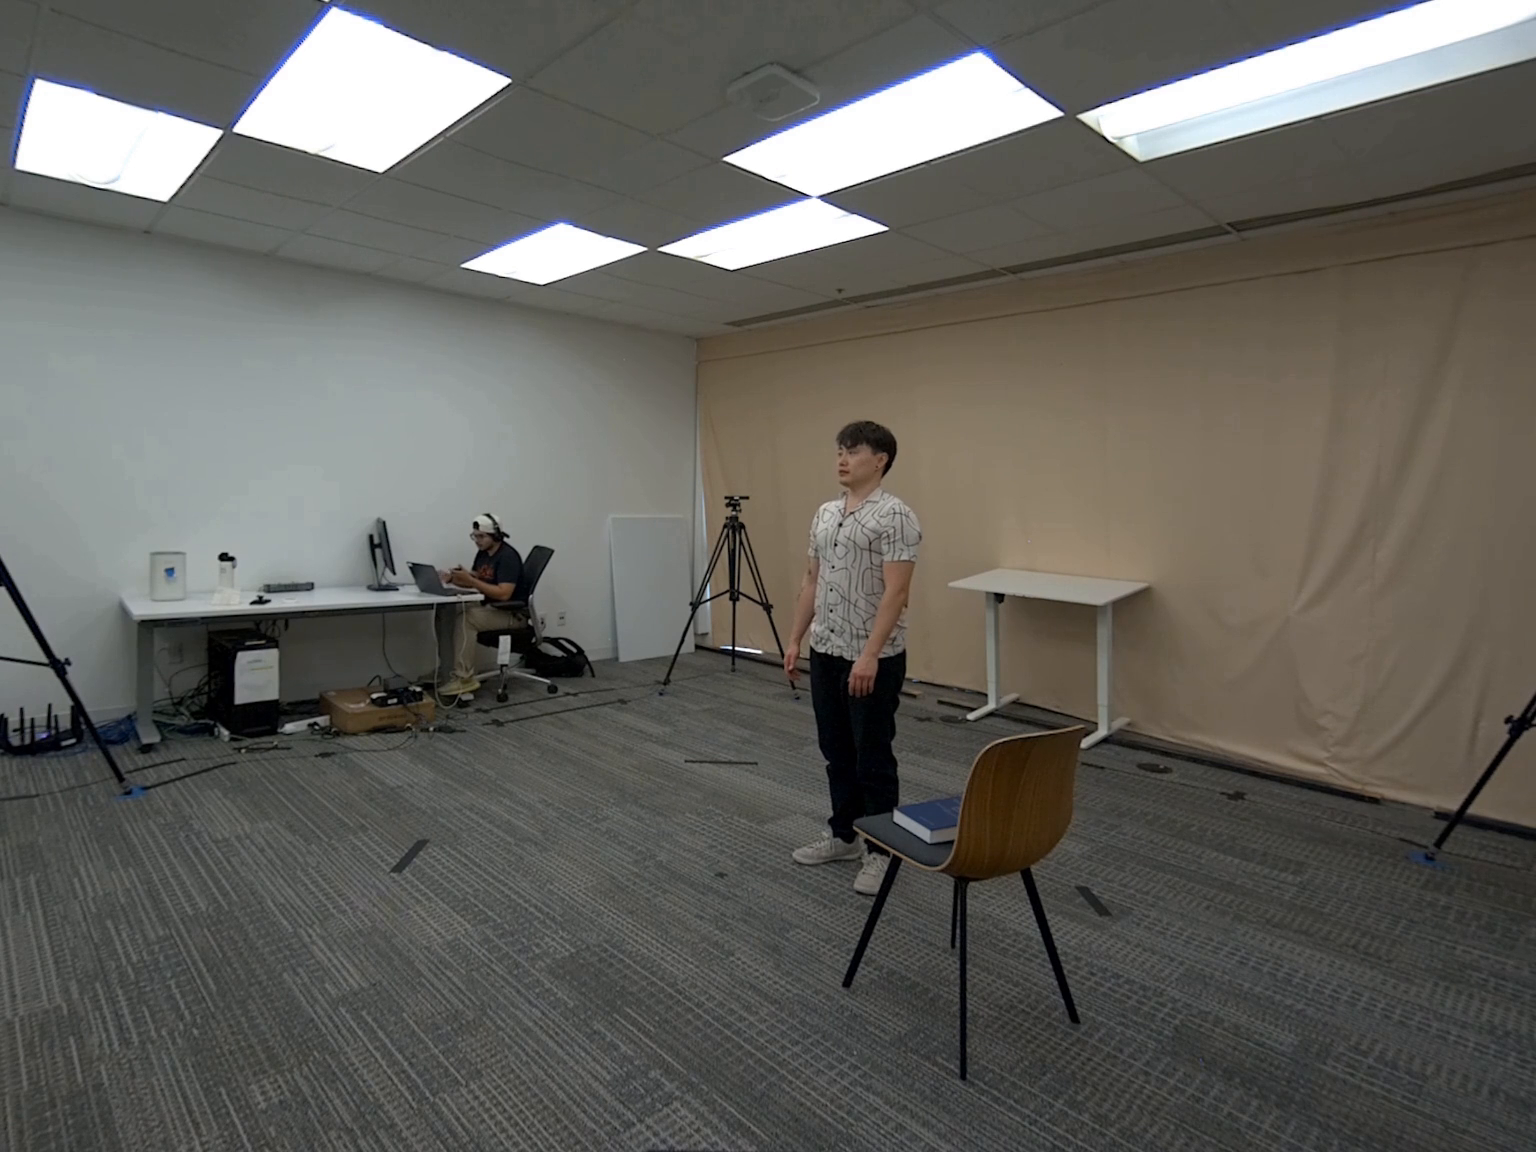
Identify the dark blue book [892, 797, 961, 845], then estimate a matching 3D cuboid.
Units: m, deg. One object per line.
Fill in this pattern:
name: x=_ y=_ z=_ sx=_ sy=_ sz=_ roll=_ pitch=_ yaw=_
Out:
dark blue book: x=0.486 y=0.685 z=2.357 sx=0.240 sy=0.045 sz=0.167 roll=0 pitch=8 yaw=-29
